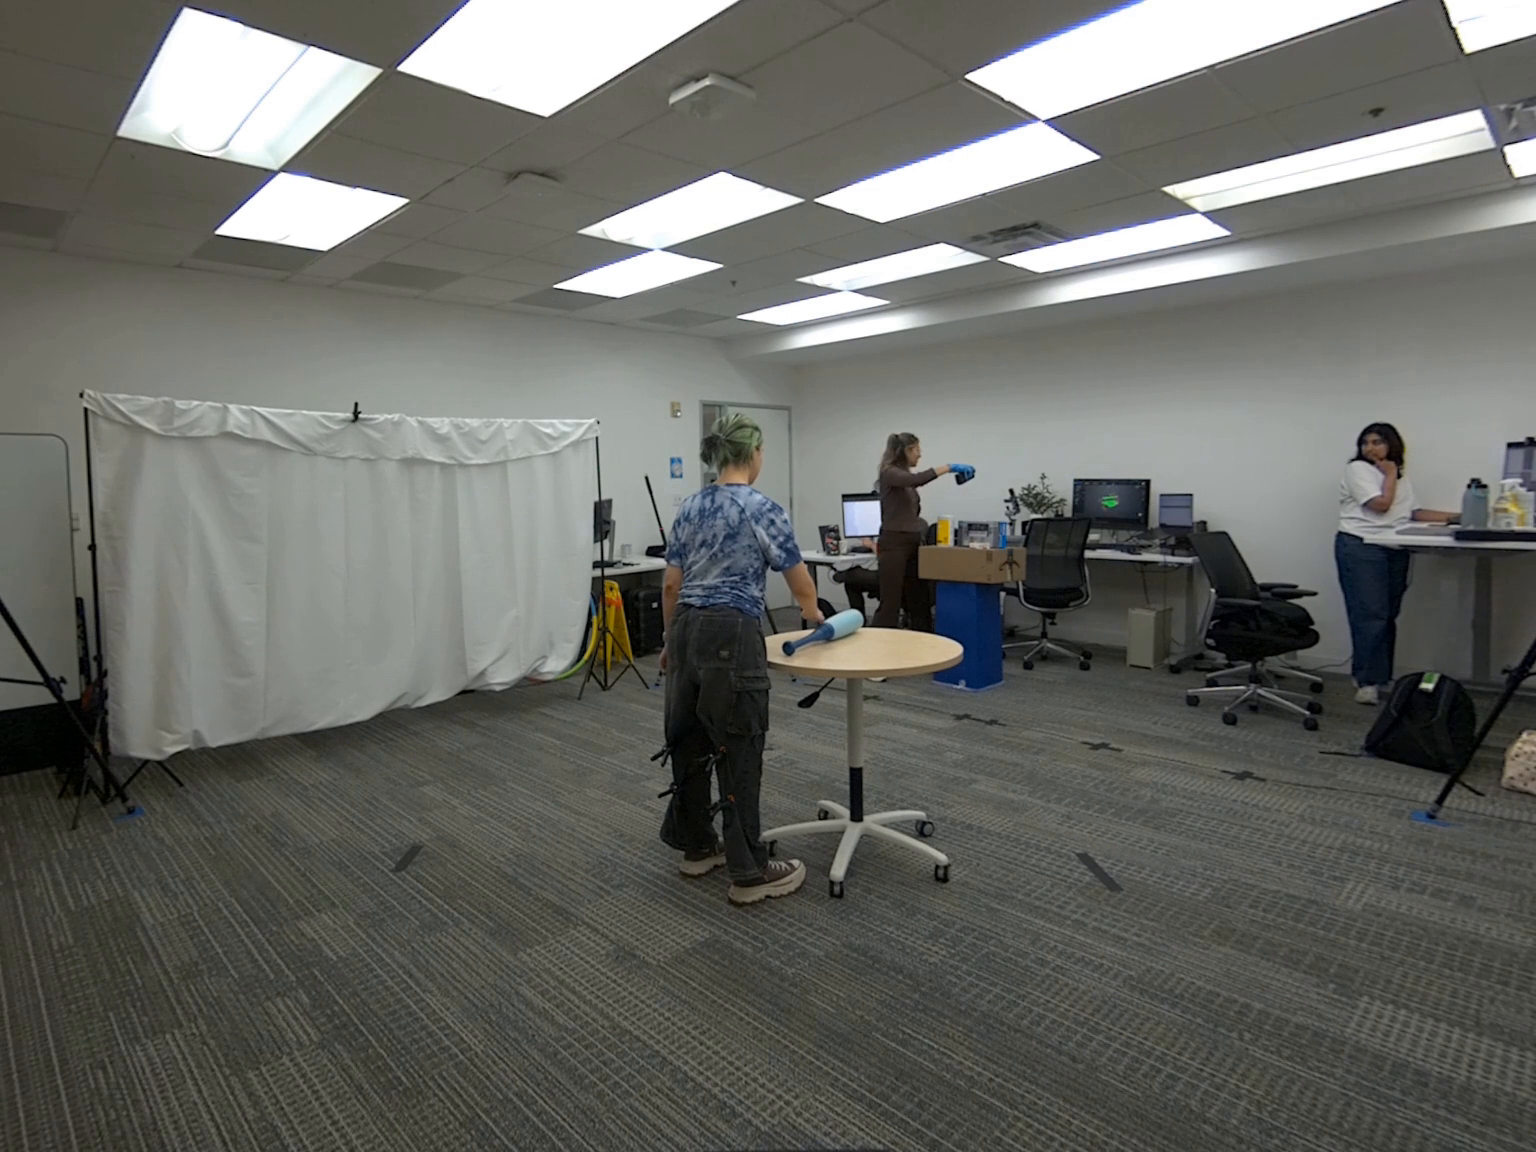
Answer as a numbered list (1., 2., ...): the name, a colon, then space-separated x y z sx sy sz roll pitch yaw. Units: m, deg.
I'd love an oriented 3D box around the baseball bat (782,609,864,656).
1. baseball bat: 0.213 0.216 3.180 0.091 0.088 0.533 2 11 31
